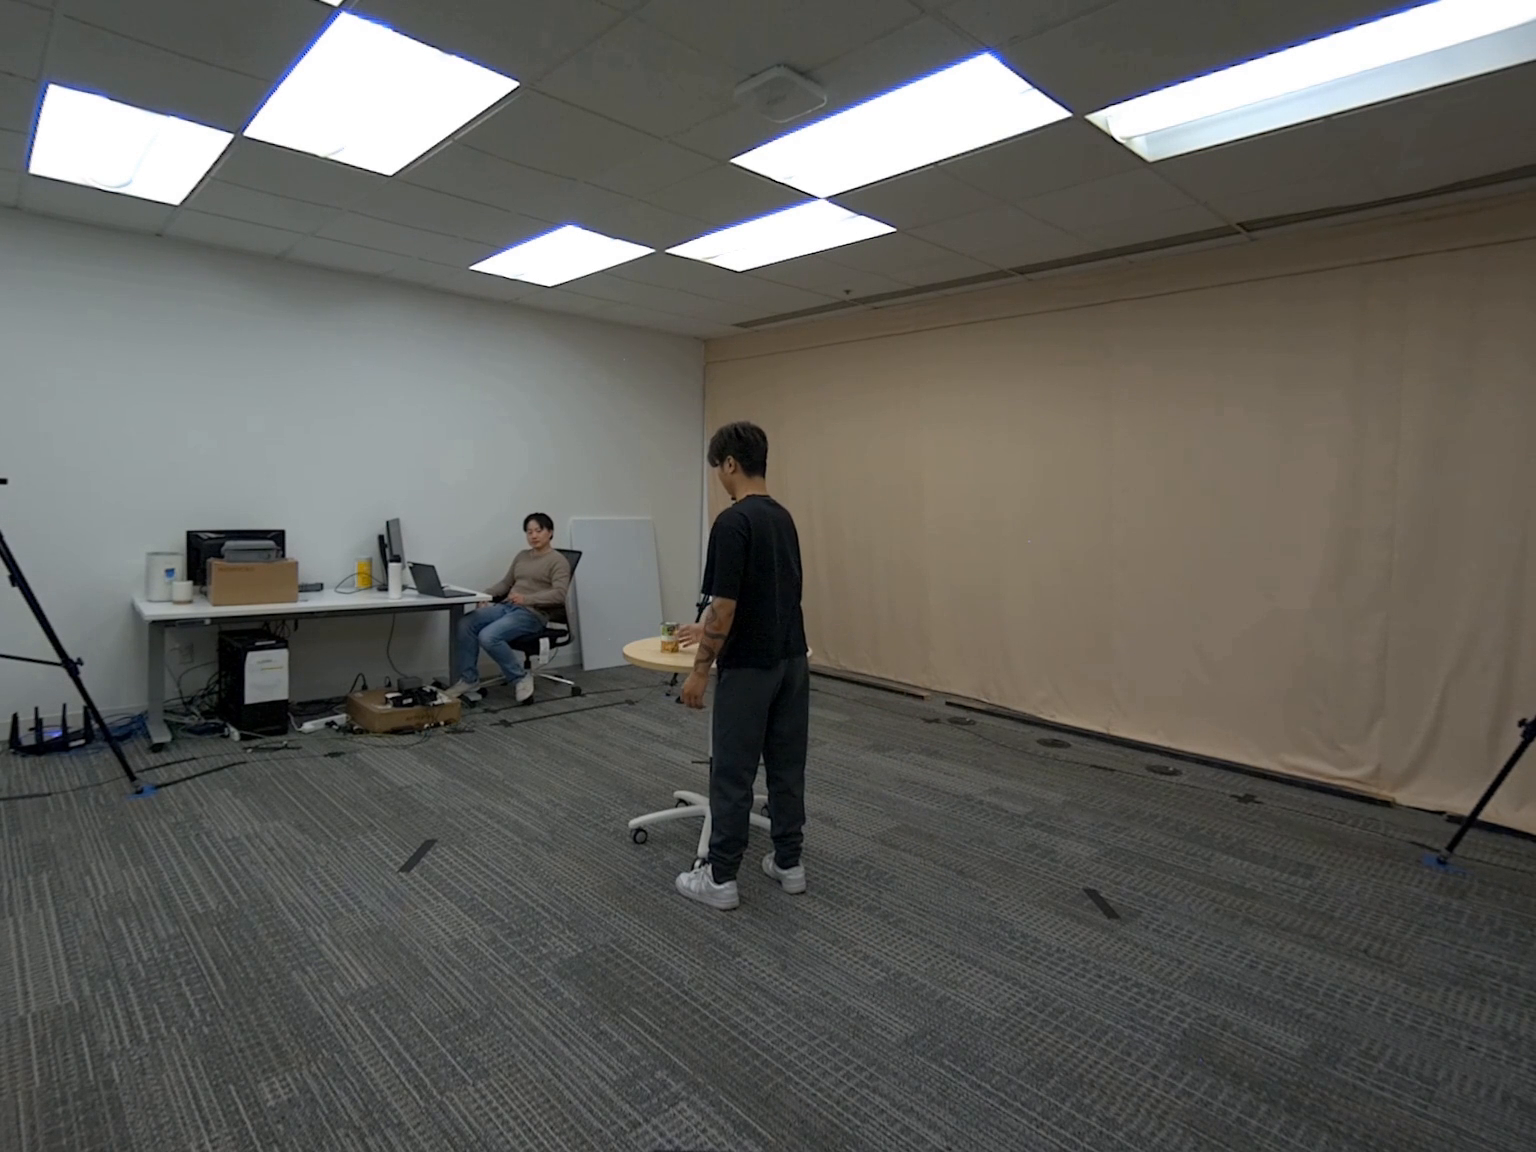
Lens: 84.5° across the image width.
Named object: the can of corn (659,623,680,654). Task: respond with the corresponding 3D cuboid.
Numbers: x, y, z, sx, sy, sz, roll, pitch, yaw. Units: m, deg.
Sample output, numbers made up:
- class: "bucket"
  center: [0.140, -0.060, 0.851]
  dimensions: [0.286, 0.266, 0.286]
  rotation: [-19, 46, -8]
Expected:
- class: "can of corn"
  center: [-0.391, 0.245, 3.331]
  dimensions: [0.074, 0.111, 0.074]
  rotation: [3, 1, -1]
